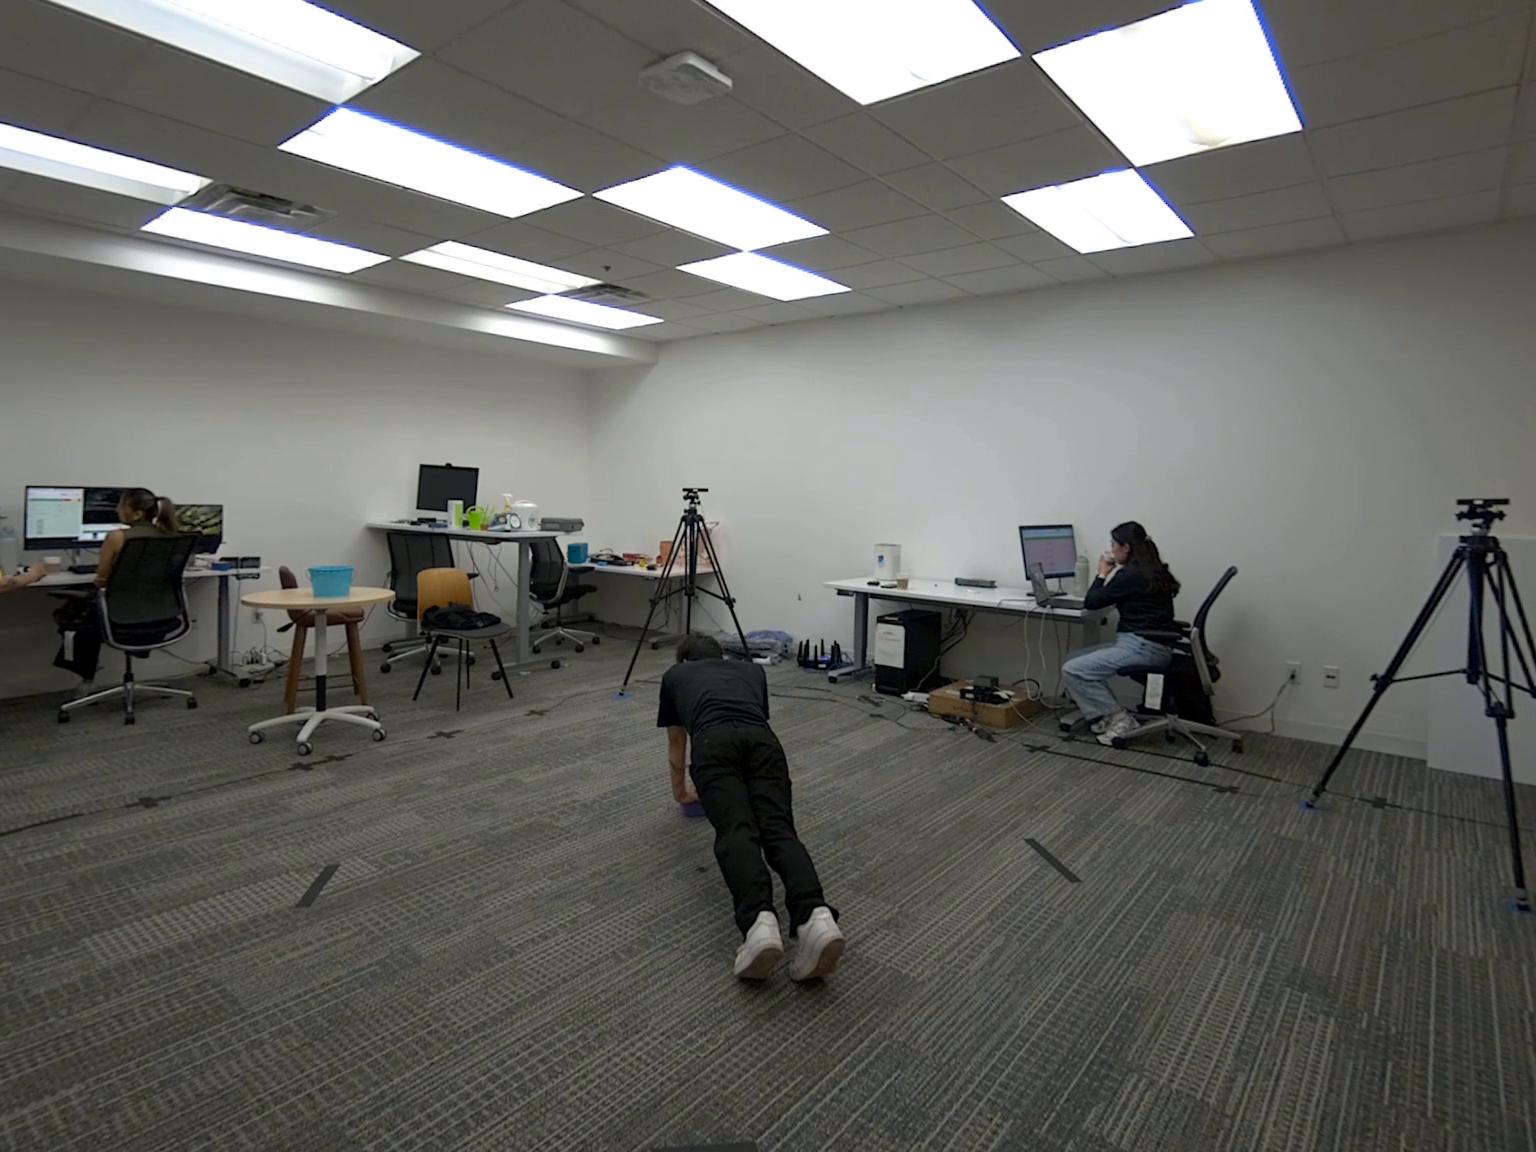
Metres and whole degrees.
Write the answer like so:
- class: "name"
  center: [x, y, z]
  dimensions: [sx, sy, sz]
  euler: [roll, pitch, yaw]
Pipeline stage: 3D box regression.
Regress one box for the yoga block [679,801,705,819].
- class: "yoga block"
  center: [-0.268, 0.967, 3.685]
  dimensions: [0.226, 0.076, 0.151]
  euler: [-1, 5, -13]
